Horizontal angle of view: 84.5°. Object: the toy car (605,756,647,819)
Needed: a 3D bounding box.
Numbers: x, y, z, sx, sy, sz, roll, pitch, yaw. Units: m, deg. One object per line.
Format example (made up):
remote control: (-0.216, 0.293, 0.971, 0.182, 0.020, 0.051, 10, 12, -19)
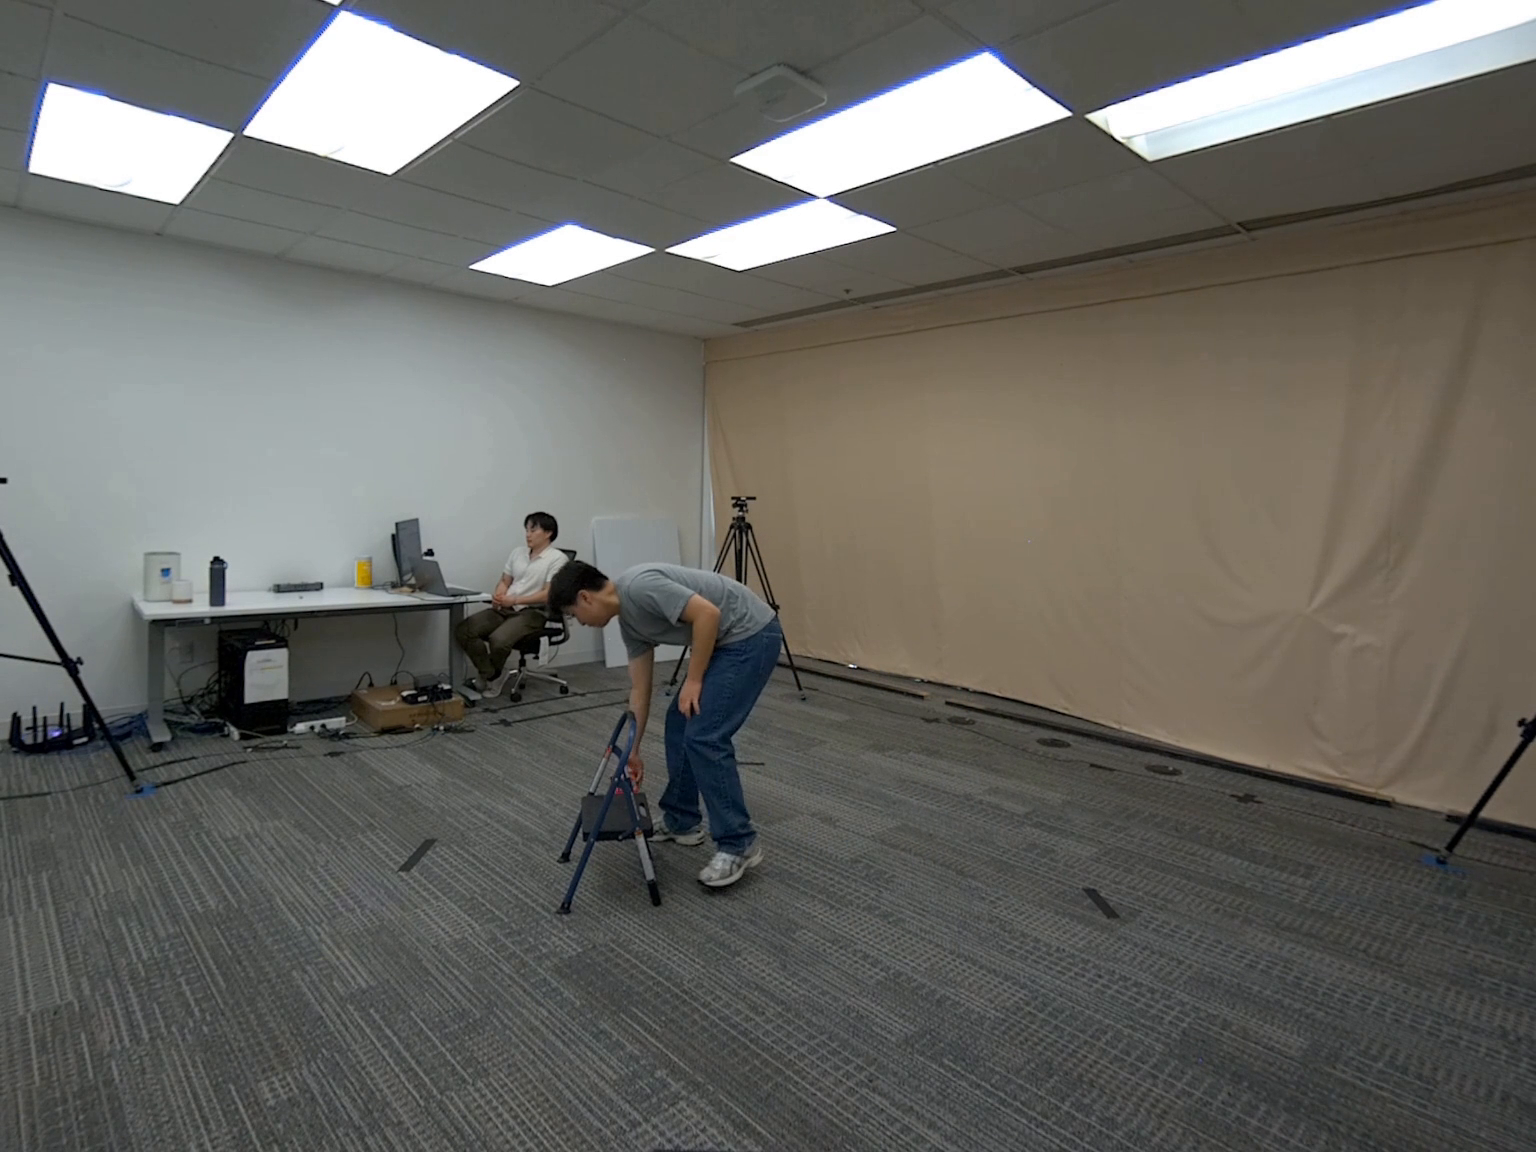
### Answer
toy car: (-0.572, 0.847, 3.409, 0.129, 0.082, 0.259, 12, 21, -9)
